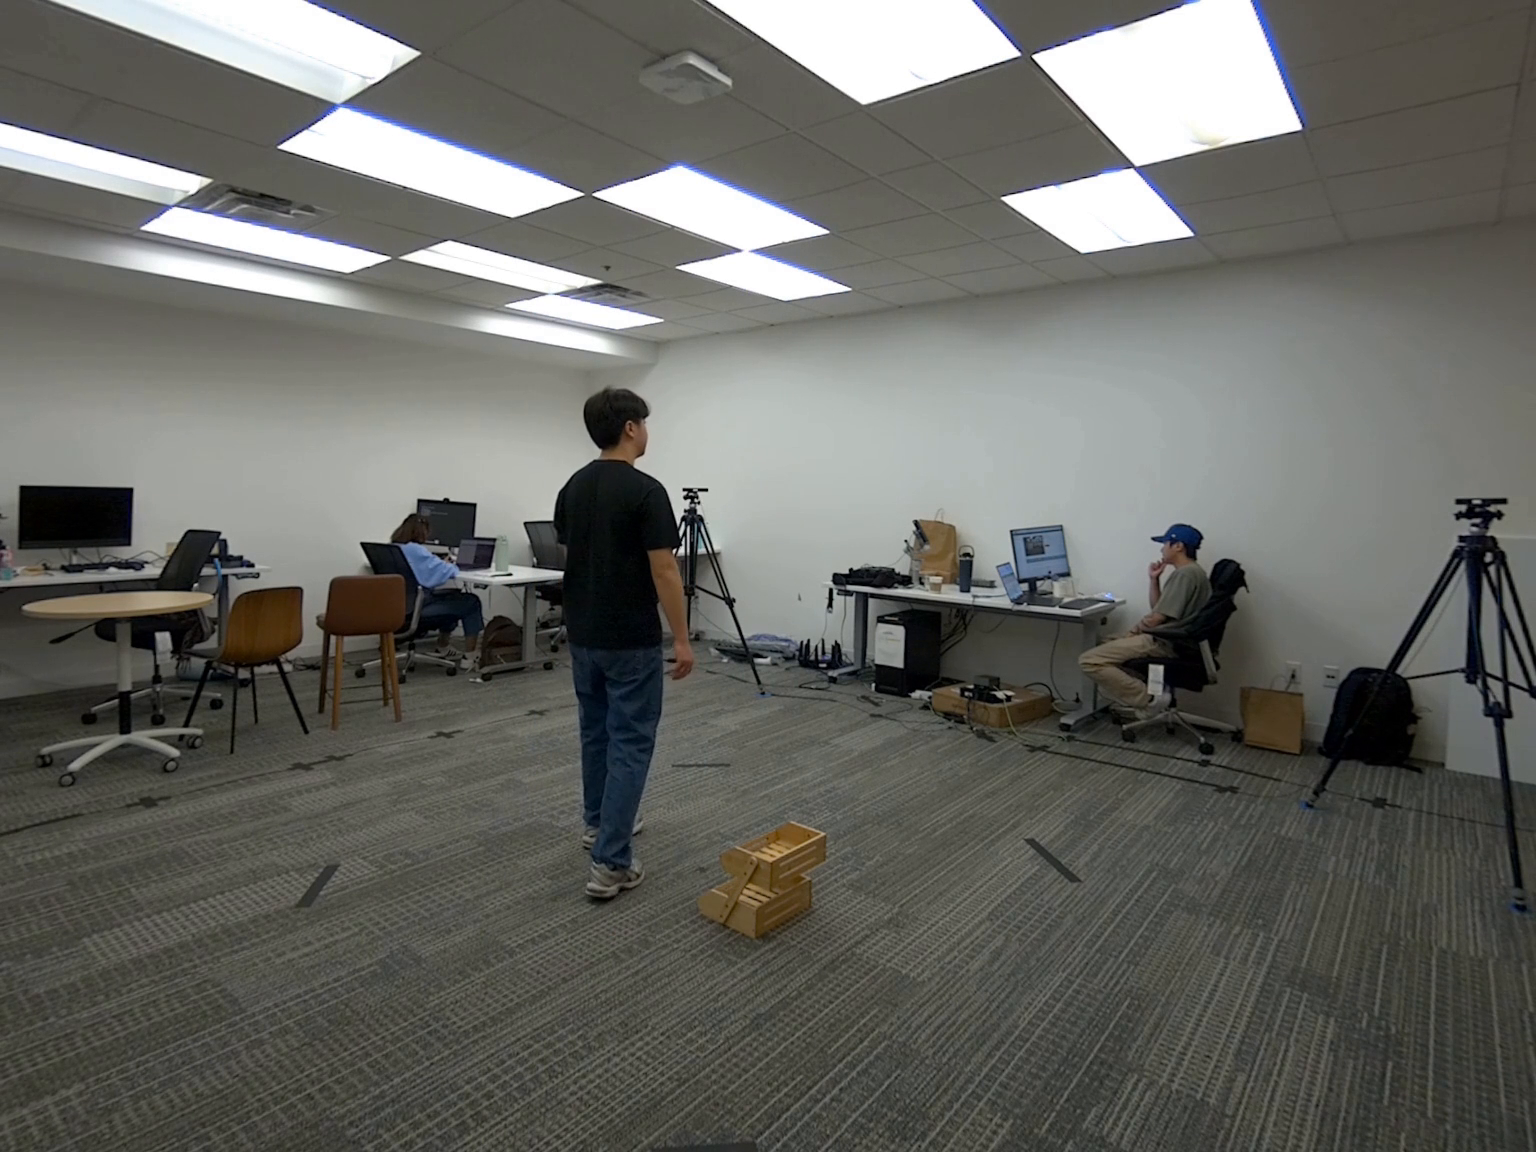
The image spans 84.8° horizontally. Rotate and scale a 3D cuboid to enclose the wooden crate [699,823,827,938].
[{"bbox_3d":[-0.027,0.968,2.804,0.312,0.272,0.315,5,6,39],"label":"wooden crate"}]
